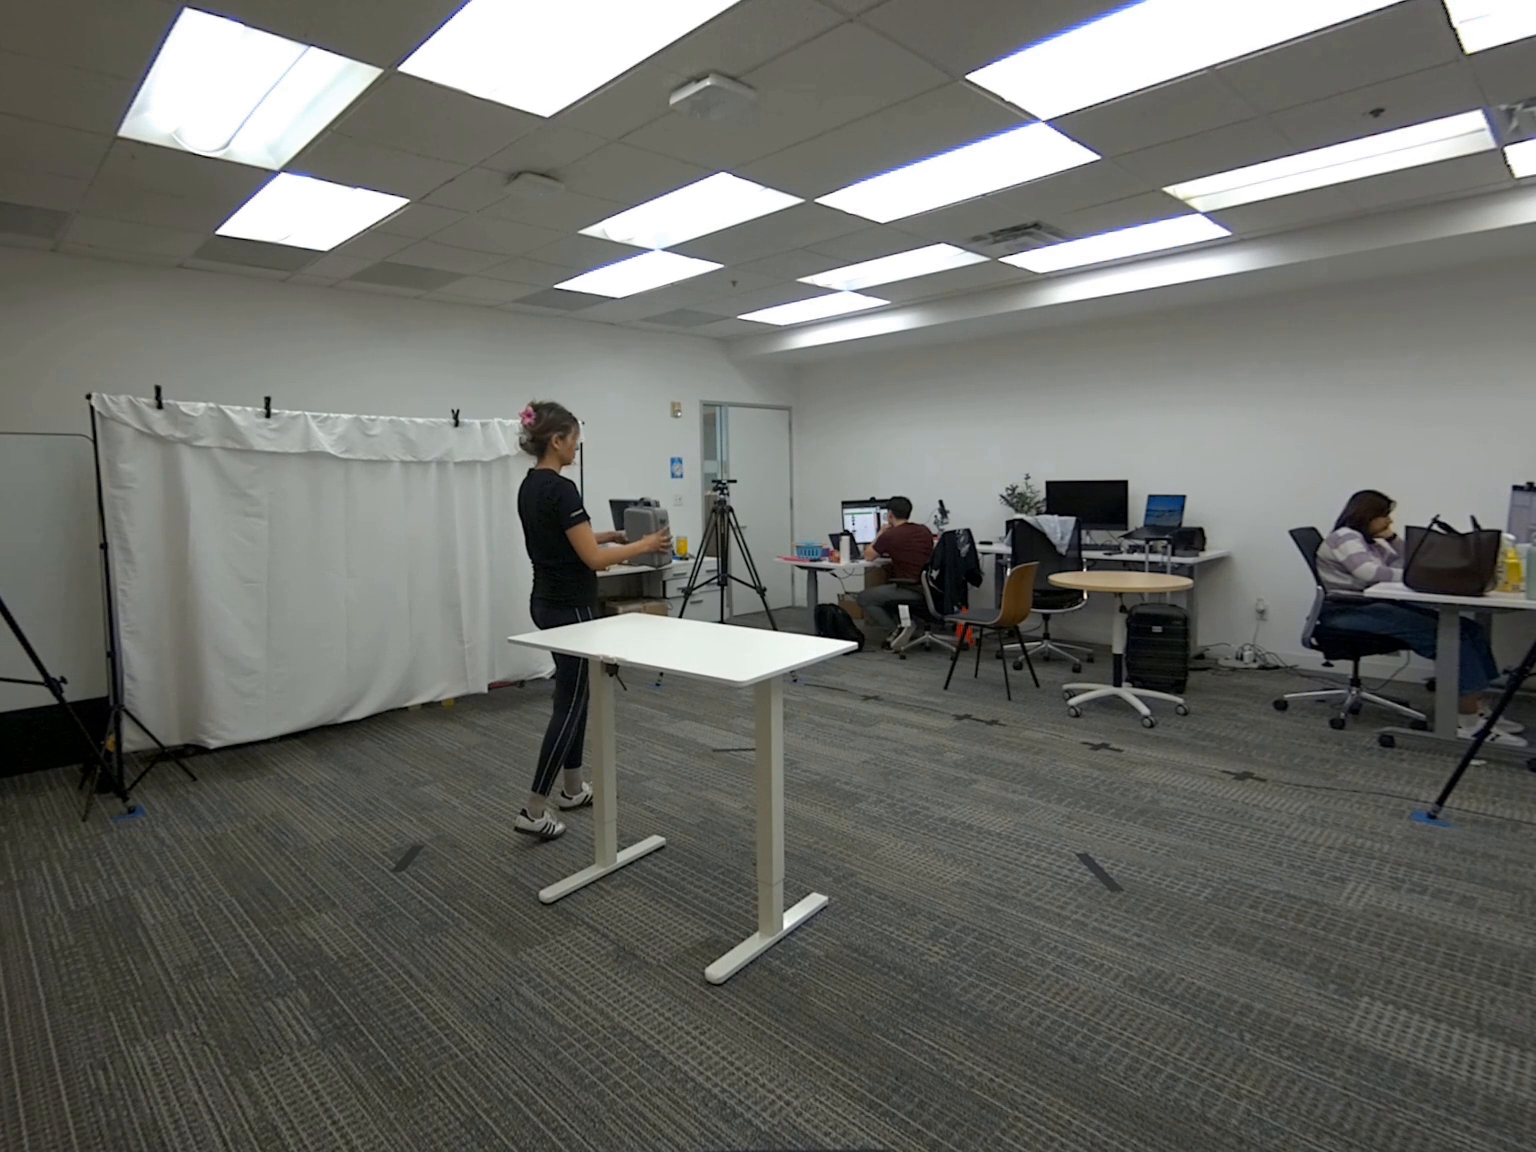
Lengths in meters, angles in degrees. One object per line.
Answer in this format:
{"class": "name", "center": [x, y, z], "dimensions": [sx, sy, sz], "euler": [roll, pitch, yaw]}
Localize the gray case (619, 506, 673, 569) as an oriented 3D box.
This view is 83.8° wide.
{"class": "gray case", "center": [-0.528, -0.178, 3.729], "dimensions": [0.102, 0.258, 0.265], "euler": [-10, 12, -34]}
